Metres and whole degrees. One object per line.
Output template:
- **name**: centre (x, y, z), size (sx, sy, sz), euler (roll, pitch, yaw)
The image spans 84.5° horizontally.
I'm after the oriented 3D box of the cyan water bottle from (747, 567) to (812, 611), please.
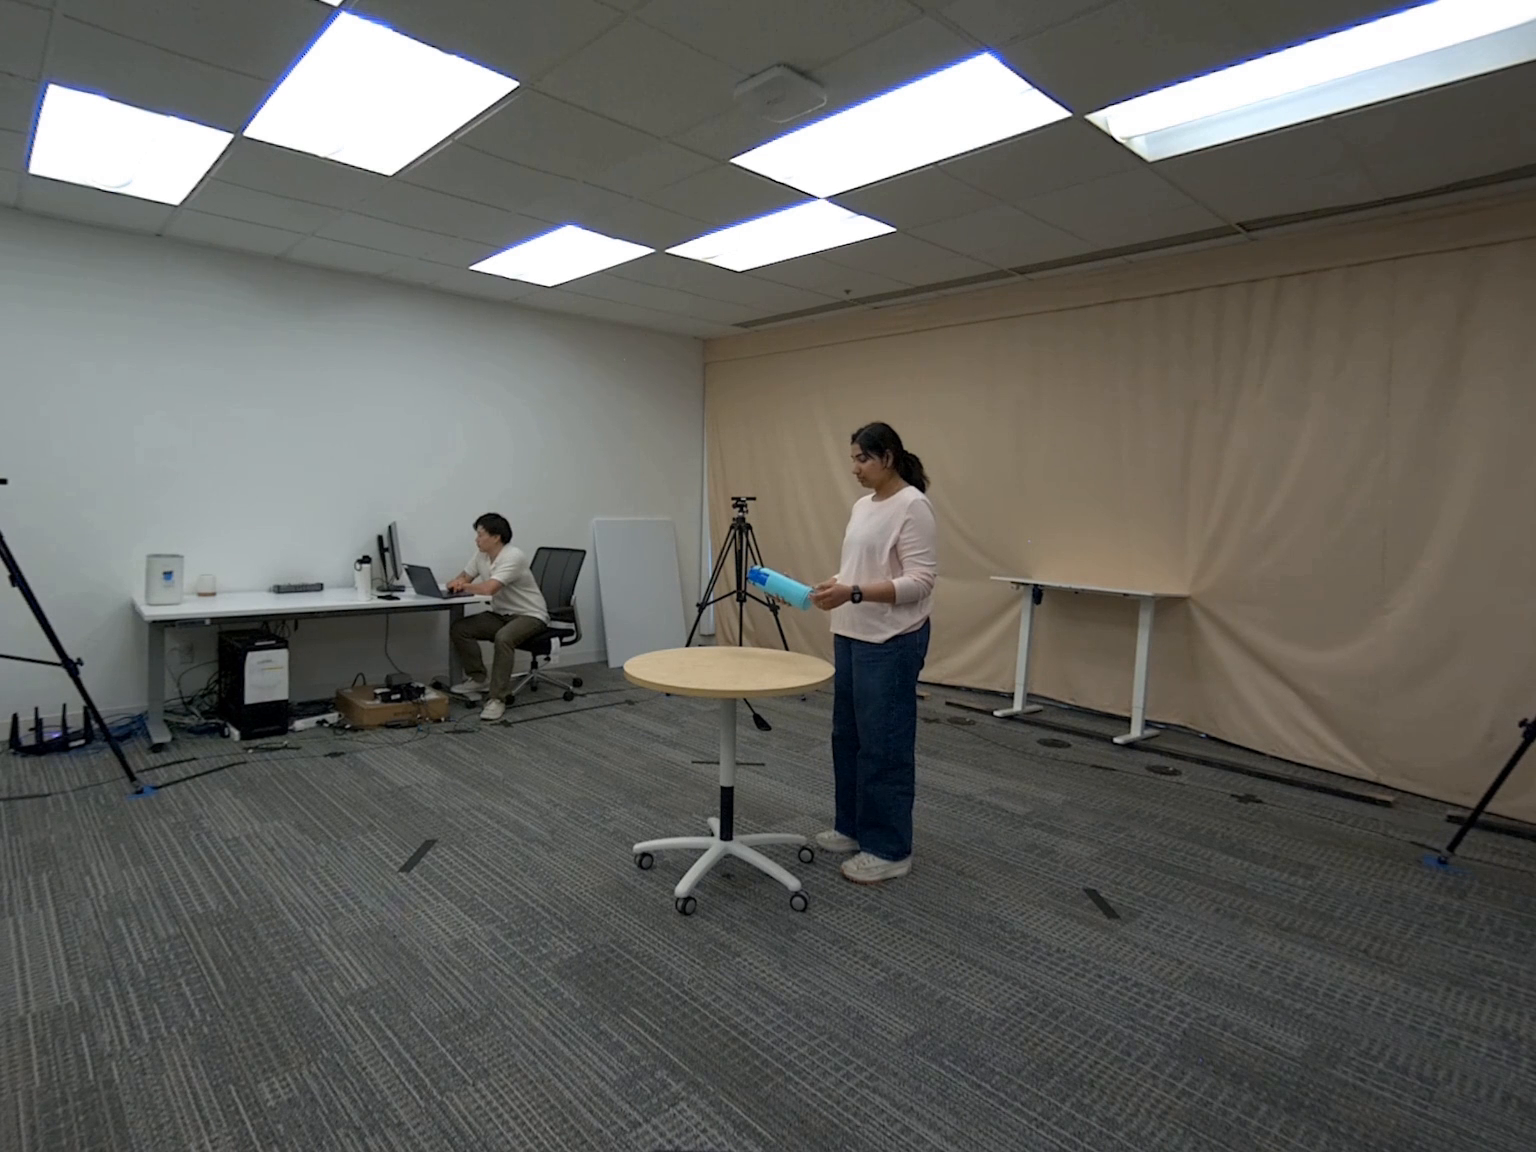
- **cyan water bottle**: centre (0.035, 0.035, 3.244), size (0.291, 0.092, 0.090), euler (26, 15, 28)
